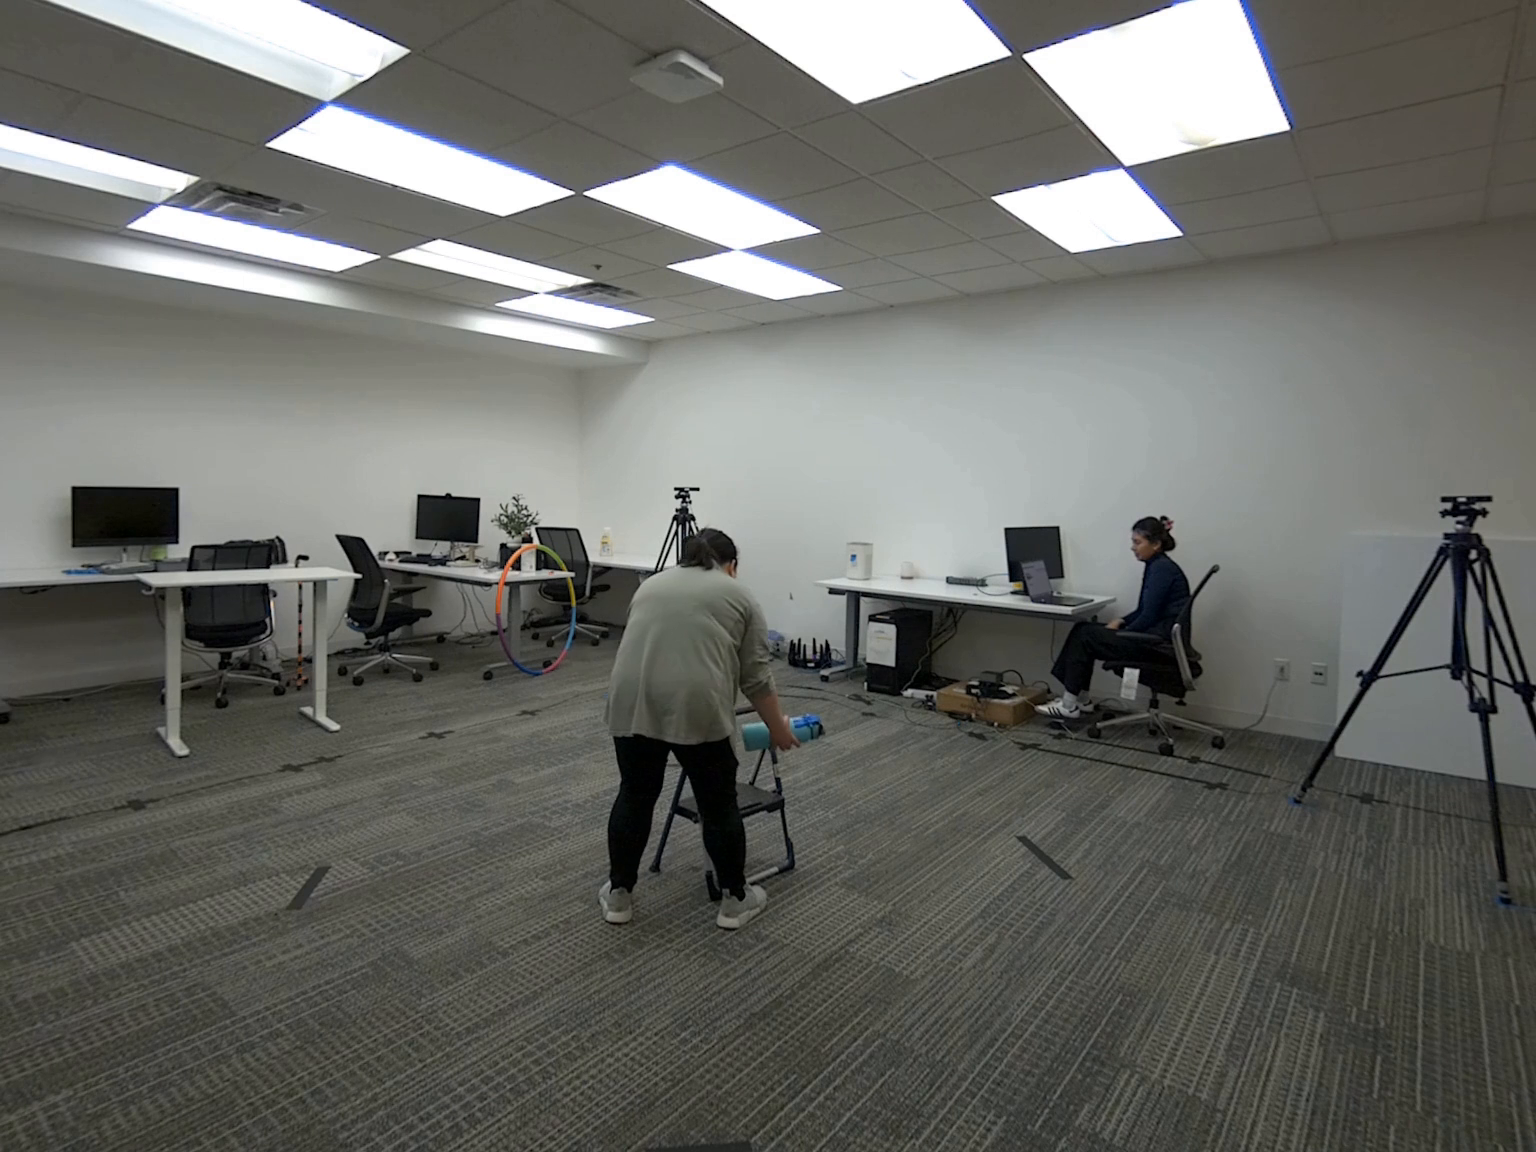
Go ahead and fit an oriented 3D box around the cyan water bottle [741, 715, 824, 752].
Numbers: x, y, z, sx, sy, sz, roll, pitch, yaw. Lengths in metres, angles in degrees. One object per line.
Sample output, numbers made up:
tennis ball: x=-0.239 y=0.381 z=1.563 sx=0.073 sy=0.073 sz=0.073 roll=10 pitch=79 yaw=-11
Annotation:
cyan water bottle: x=0.028 y=0.529 z=2.931 sx=0.283 sy=0.092 sz=0.093 roll=-8 pitch=4 yaw=-1
